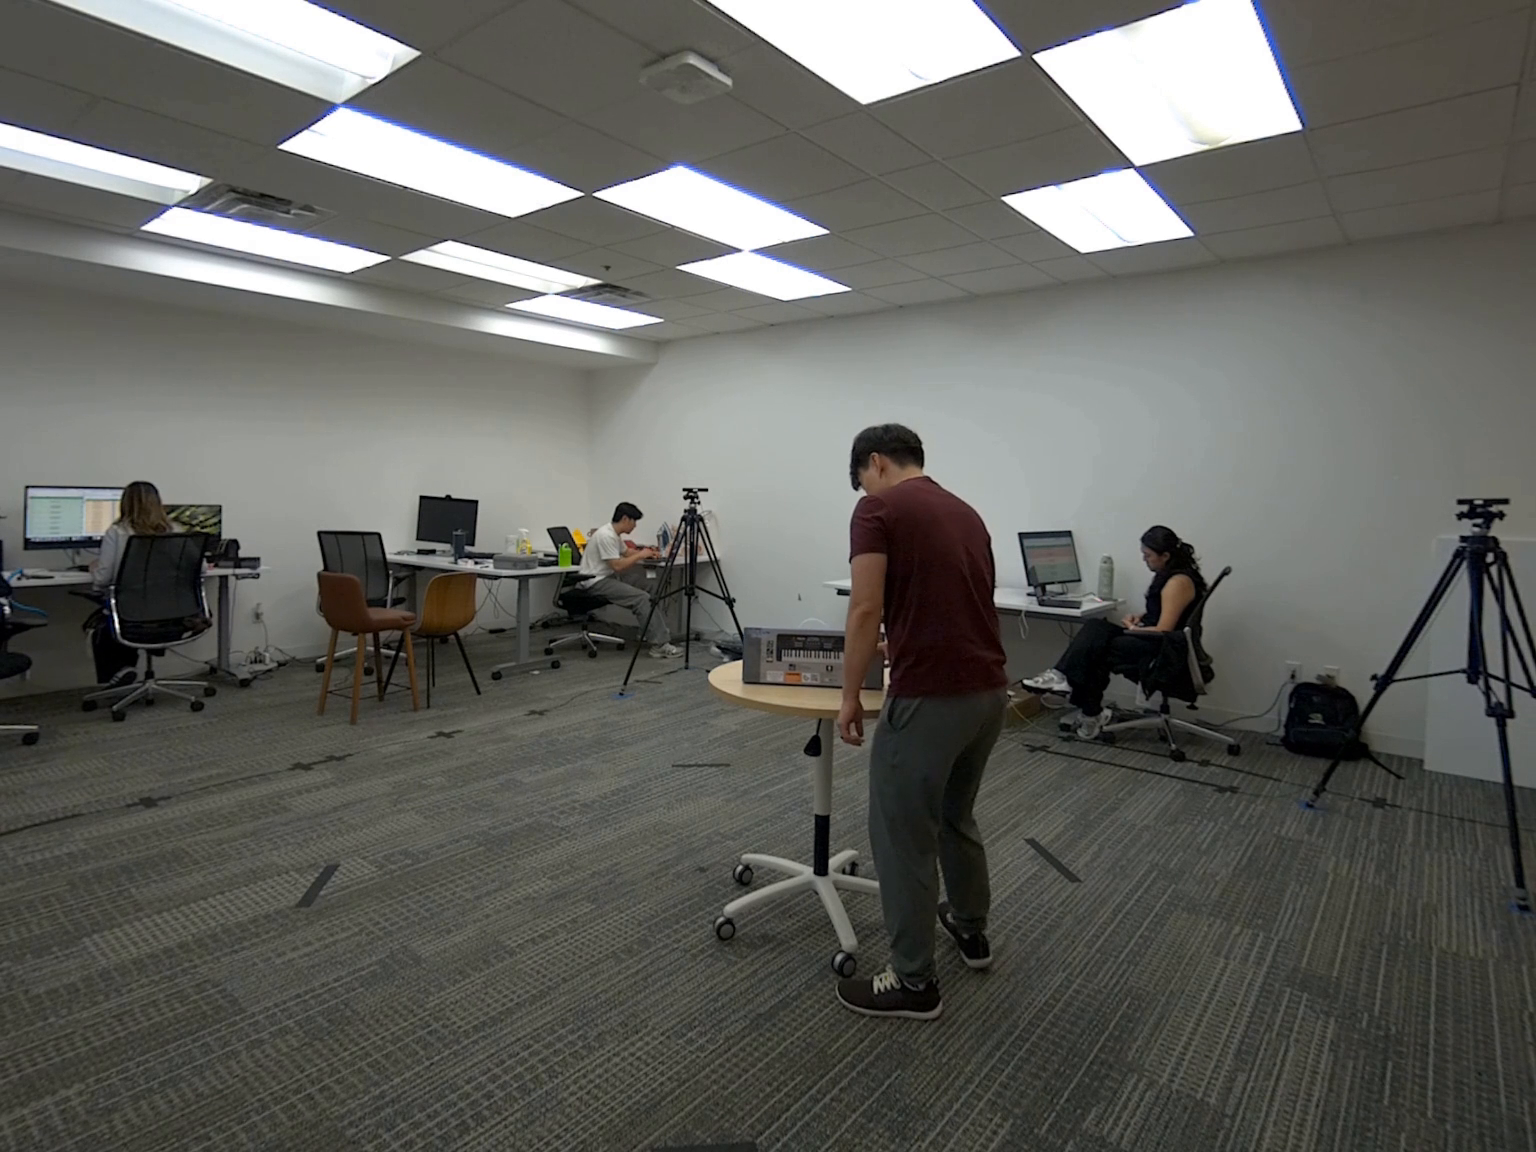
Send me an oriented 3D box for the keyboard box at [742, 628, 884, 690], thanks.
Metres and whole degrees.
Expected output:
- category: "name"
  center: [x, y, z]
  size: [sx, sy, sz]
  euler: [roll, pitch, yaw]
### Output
- category: "keyboard box"
  center: [0.139, 0.253, 2.663]
  size: [0.440, 0.176, 0.058]
  euler: [1, -2, 7]
